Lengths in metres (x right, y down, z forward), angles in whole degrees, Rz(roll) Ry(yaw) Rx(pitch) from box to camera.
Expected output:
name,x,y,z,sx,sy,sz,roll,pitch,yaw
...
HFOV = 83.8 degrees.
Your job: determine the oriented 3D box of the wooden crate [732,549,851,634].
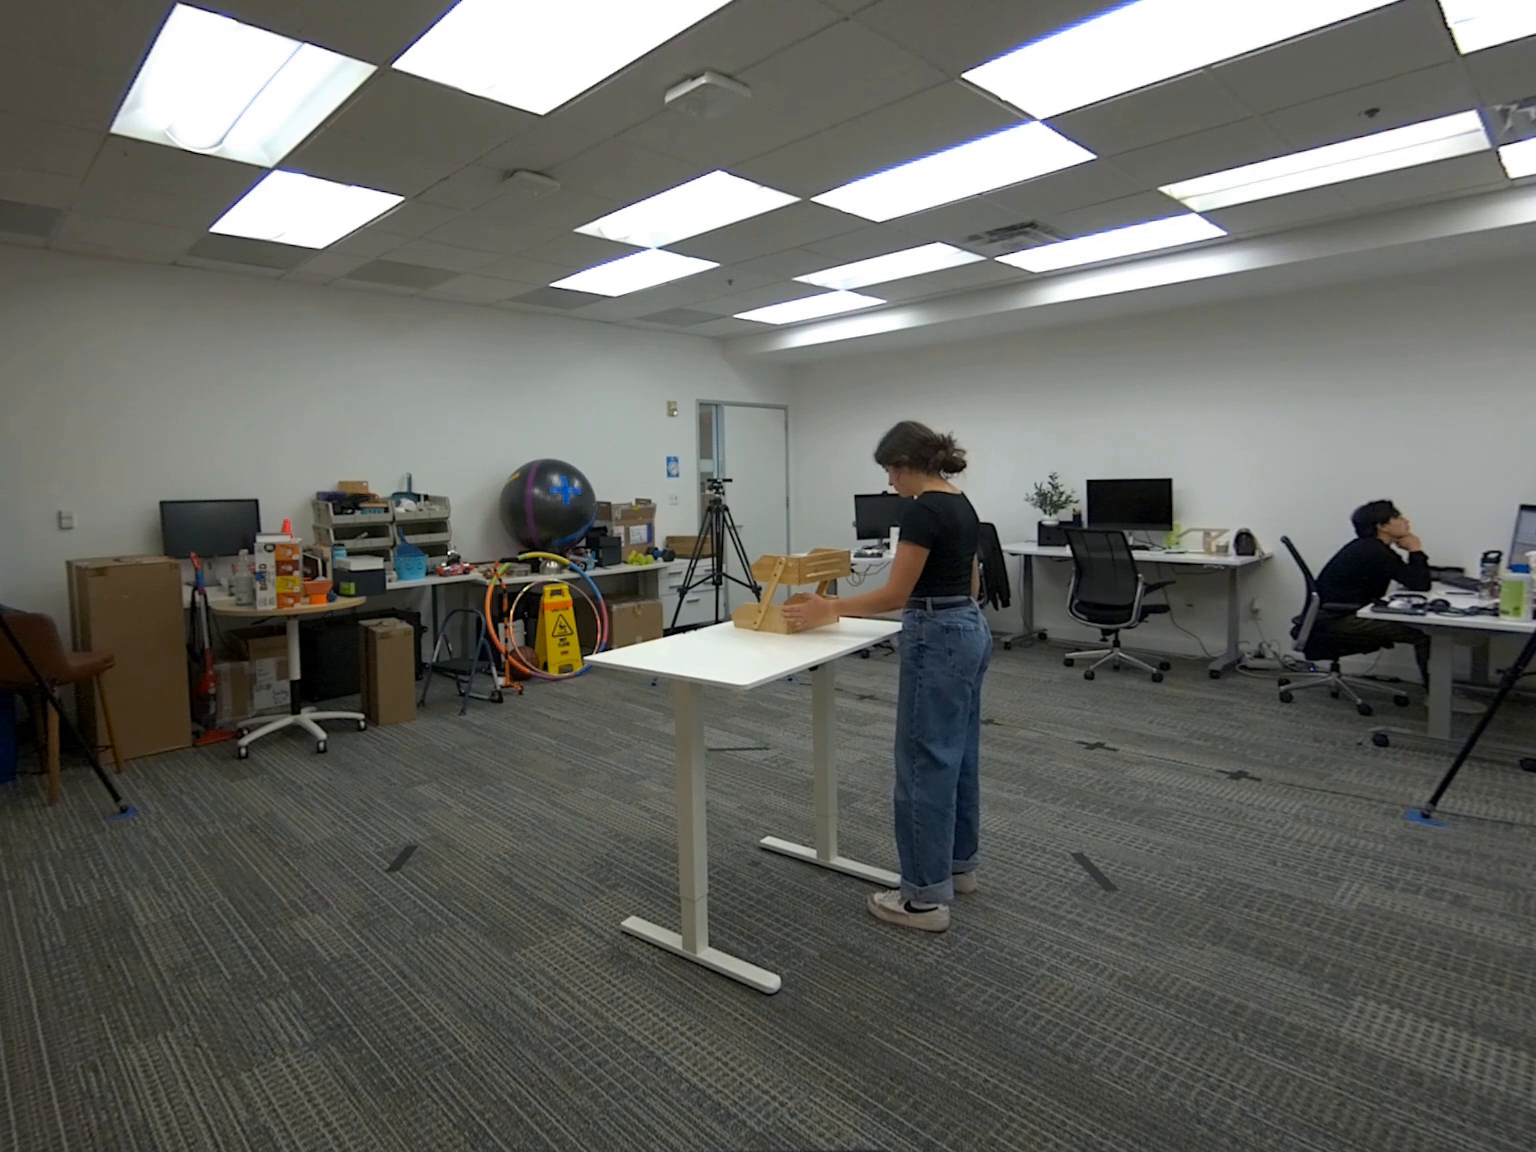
name,x,y,z,sx,sy,sz,roll,pitch,yaw
wooden crate,0.081,0.037,2.977,0.311,0.272,0.316,5,9,40
